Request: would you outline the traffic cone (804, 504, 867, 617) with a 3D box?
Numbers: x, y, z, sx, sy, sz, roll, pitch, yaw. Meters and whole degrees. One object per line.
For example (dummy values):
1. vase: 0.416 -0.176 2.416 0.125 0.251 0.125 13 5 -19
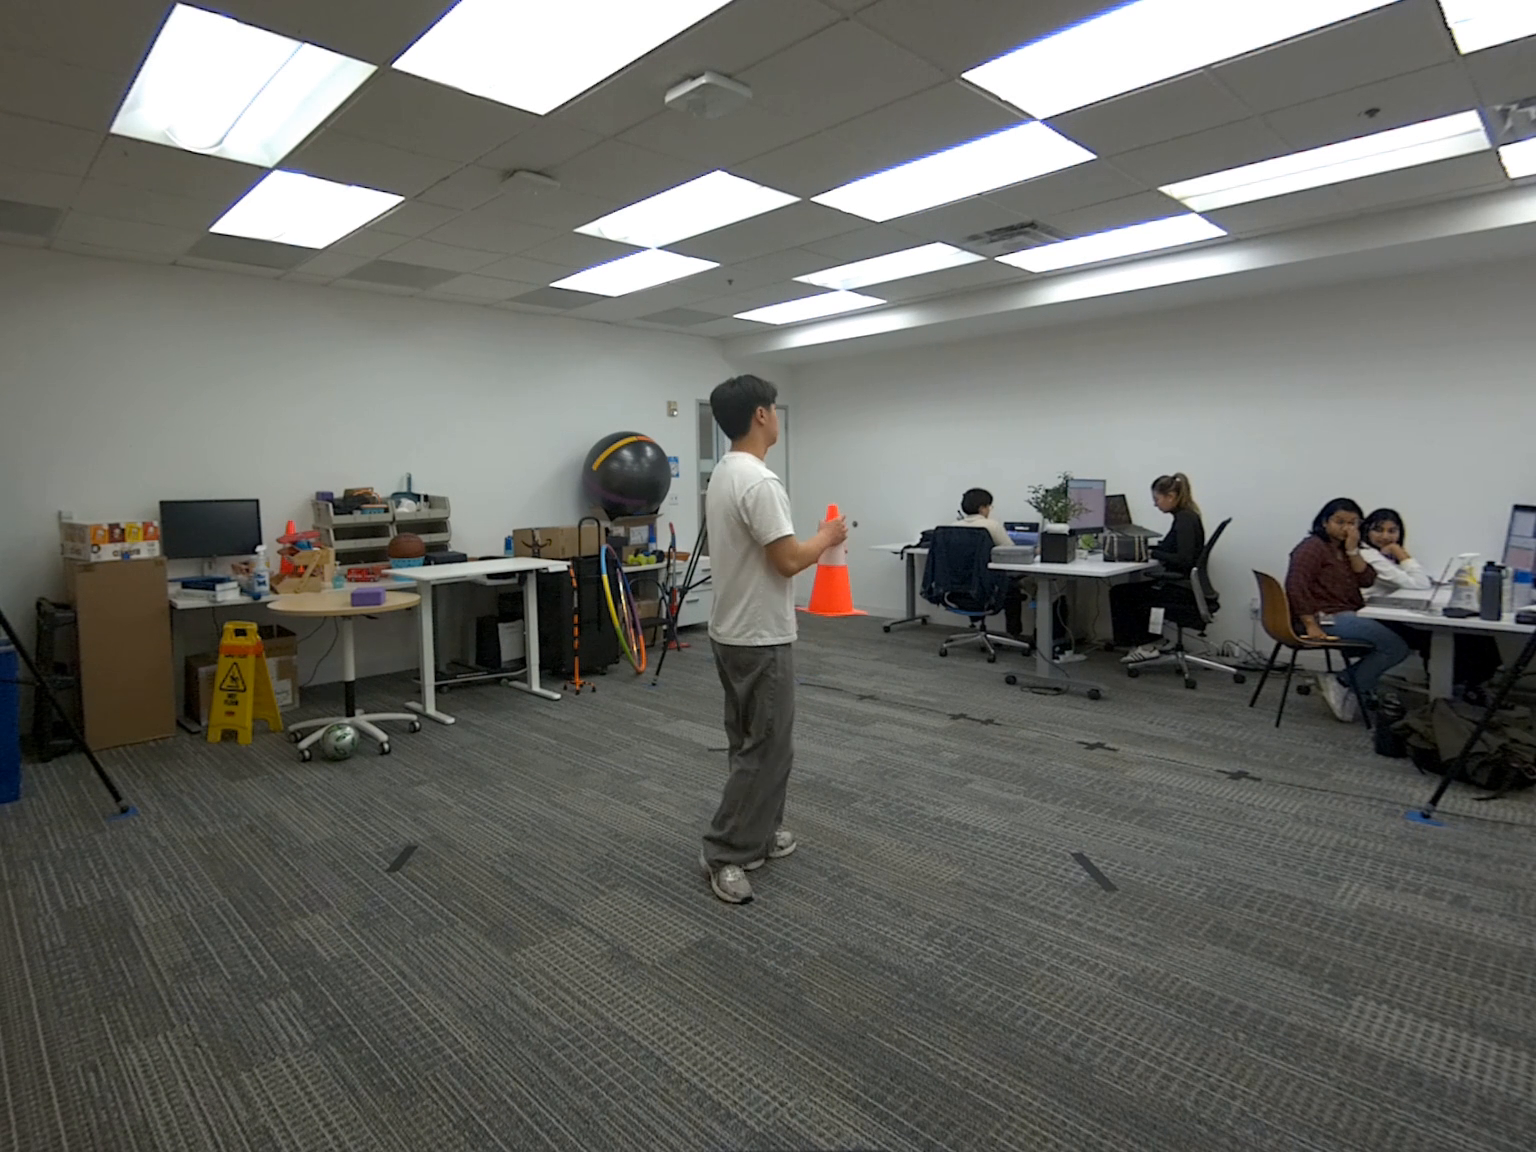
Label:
1. traffic cone: 0.224 -0.058 3.033 0.198 0.381 0.212 -2 8 -37
